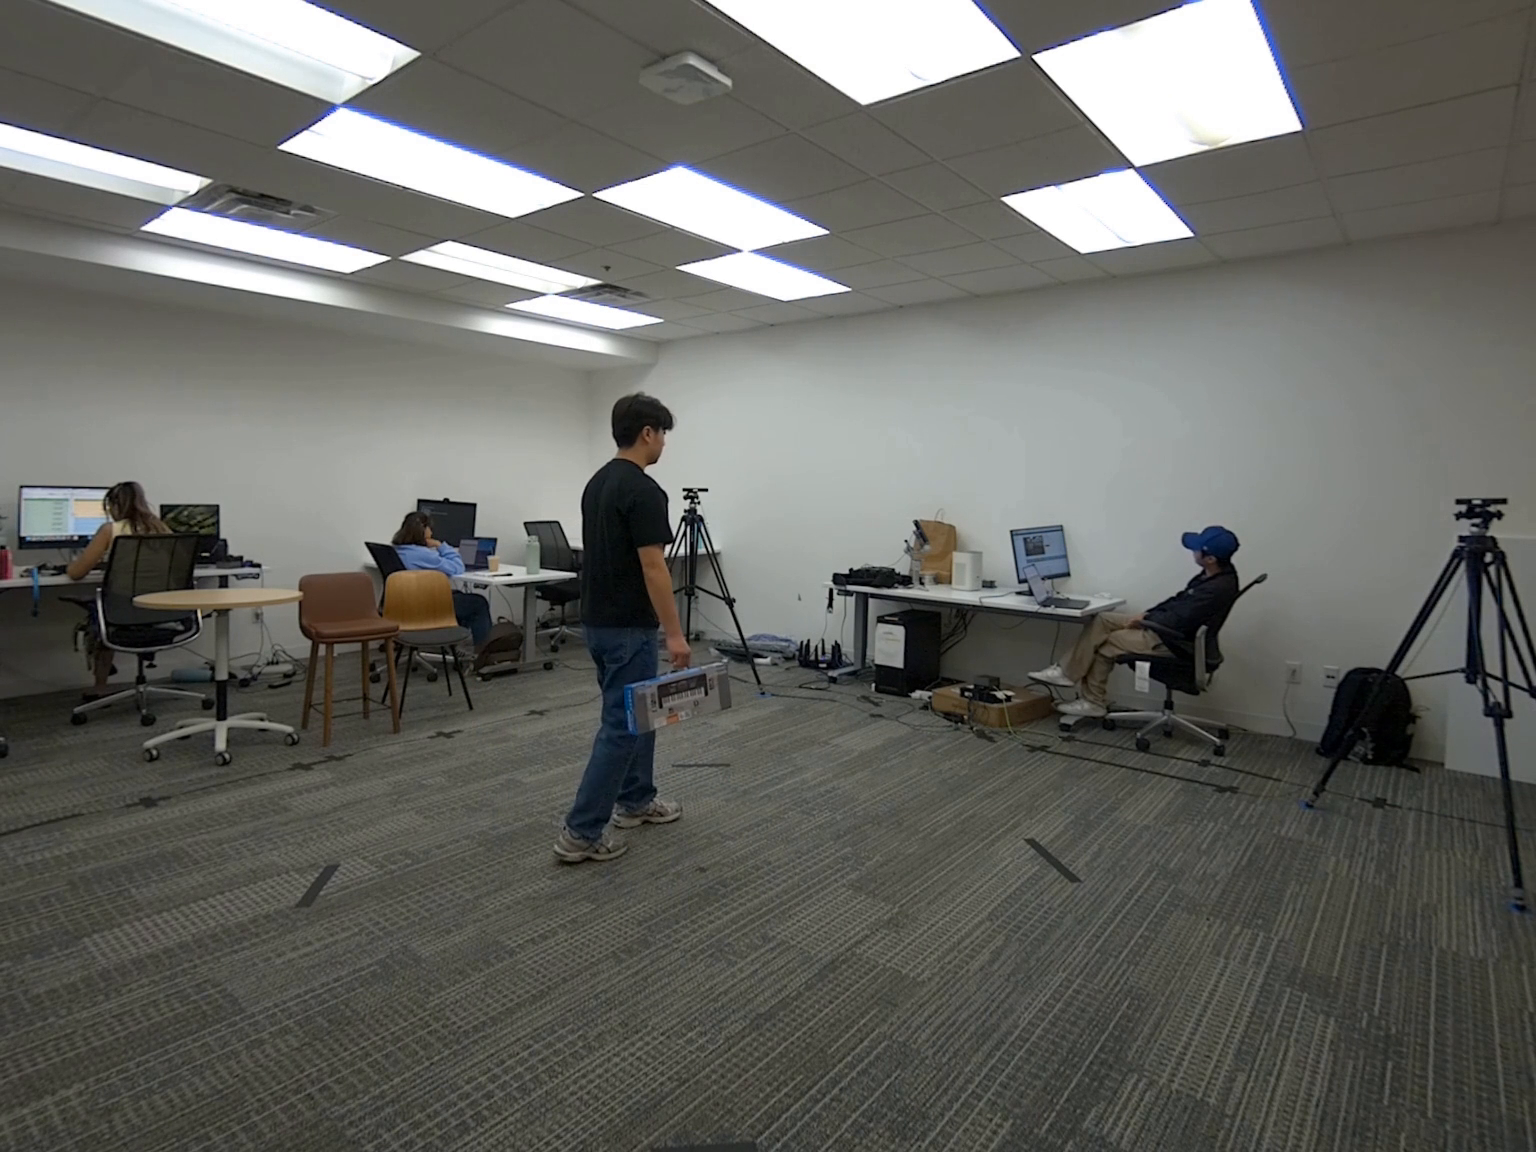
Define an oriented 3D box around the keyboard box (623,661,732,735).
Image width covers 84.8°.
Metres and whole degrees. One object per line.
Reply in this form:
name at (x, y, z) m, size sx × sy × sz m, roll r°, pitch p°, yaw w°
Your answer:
keyboard box at (-0.339, 0.441, 3.142) m, size 0.425 × 0.175 × 0.061 m, roll -9°, pitch 4°, yaw -39°
